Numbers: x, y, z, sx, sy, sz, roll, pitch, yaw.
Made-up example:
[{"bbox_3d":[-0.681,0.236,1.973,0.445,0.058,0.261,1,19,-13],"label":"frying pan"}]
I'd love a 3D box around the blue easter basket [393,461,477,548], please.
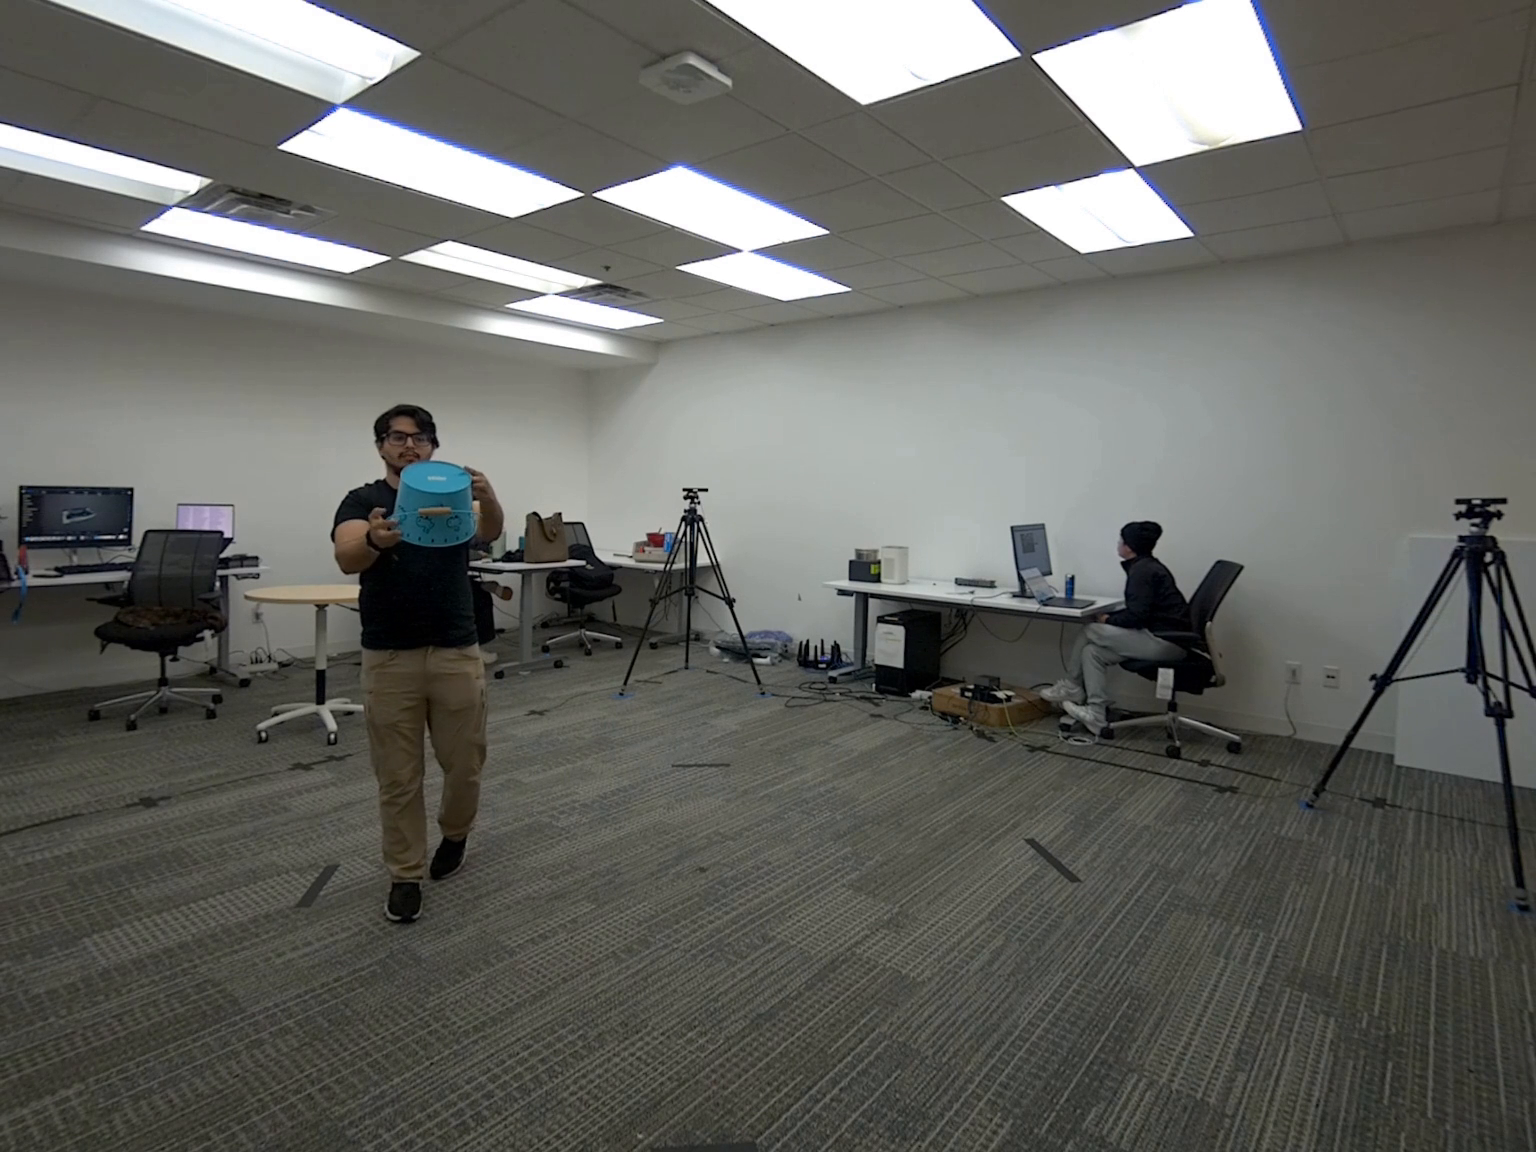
[{"bbox_3d":[-0.927,-0.207,2.304,0.241,0.153,0.250,11,28,-8],"label":"blue easter basket"}]
